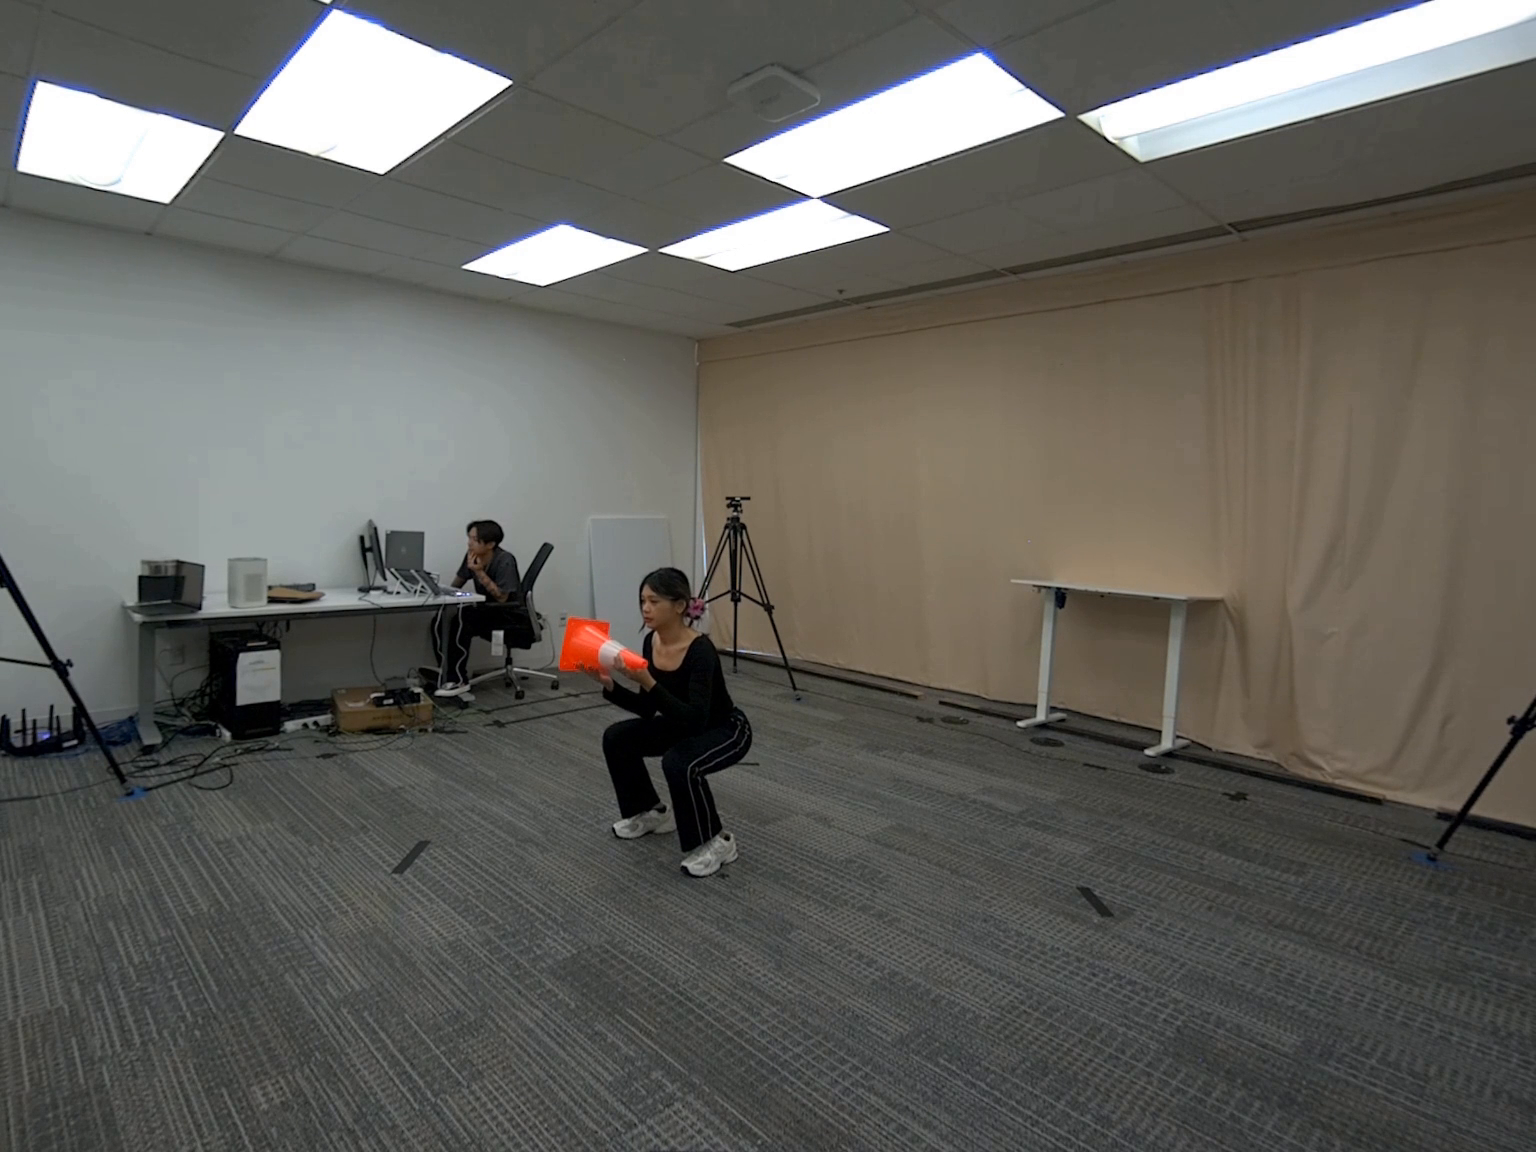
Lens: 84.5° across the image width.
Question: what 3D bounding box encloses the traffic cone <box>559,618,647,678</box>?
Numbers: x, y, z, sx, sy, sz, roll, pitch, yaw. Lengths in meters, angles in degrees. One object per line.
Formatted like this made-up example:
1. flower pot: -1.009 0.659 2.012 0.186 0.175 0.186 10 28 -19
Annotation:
1. traffic cone: -0.567 0.284 3.051 0.197 0.205 0.394 14 -3 -43
